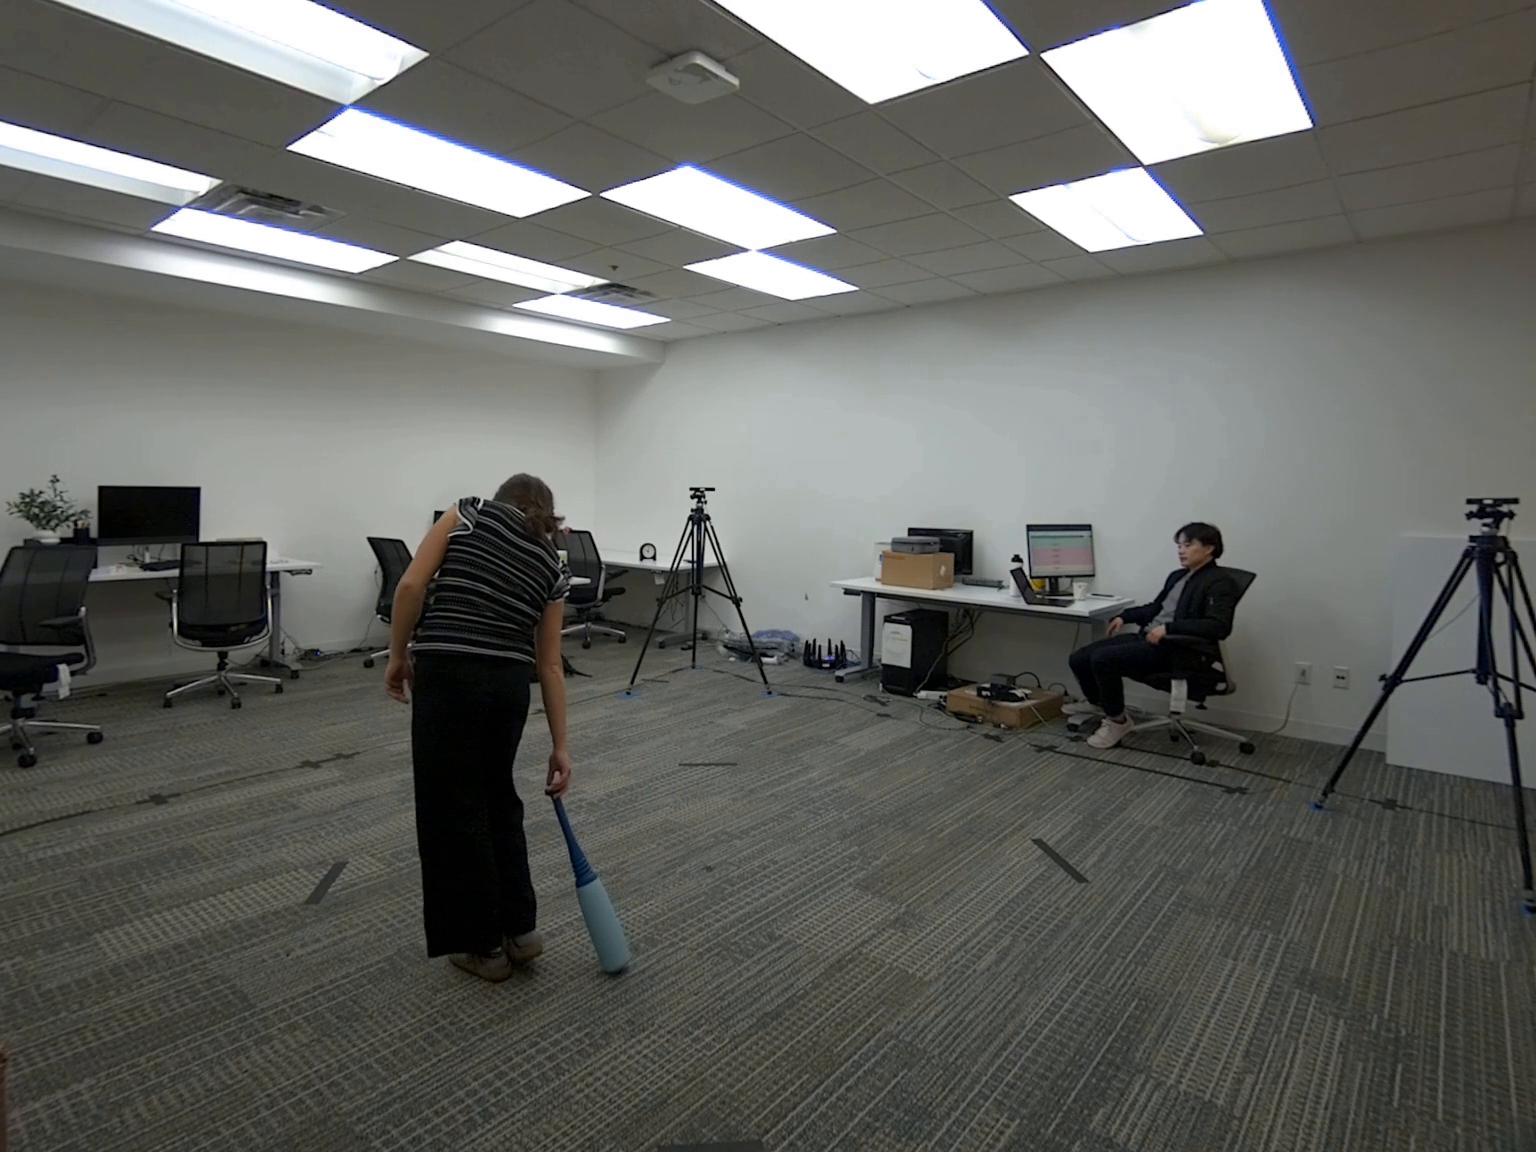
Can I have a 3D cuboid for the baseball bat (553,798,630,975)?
[{"bbox_3d":[-0.545,0.878,2.467,0.089,0.549,0.088,-24,-8,-5],"label":"baseball bat"}]
